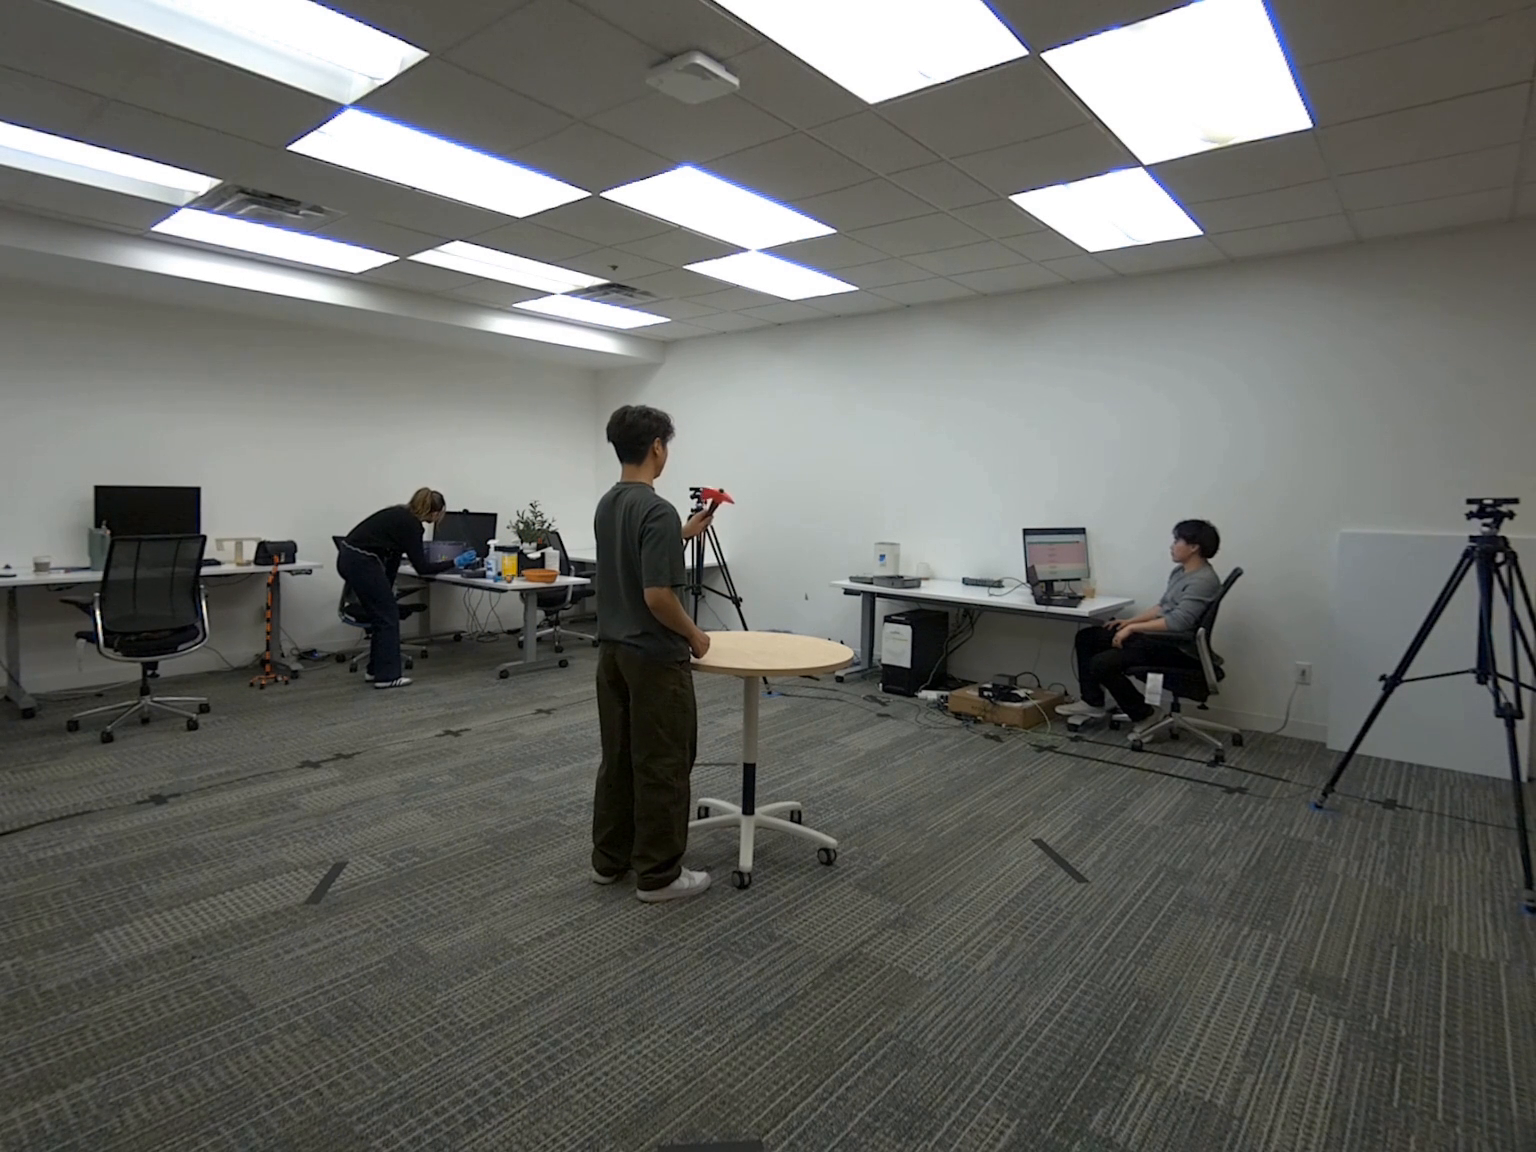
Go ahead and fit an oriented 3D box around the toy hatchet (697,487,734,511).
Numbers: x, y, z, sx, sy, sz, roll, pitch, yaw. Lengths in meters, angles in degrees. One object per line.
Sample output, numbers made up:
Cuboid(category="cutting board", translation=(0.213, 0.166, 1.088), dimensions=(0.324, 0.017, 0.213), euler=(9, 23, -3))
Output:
Cuboid(category="toy hatchet", translation=(-0.280, -0.260, 3.312), dimensions=(0.271, 0.127, 0.030), euler=(-37, 22, 23))
